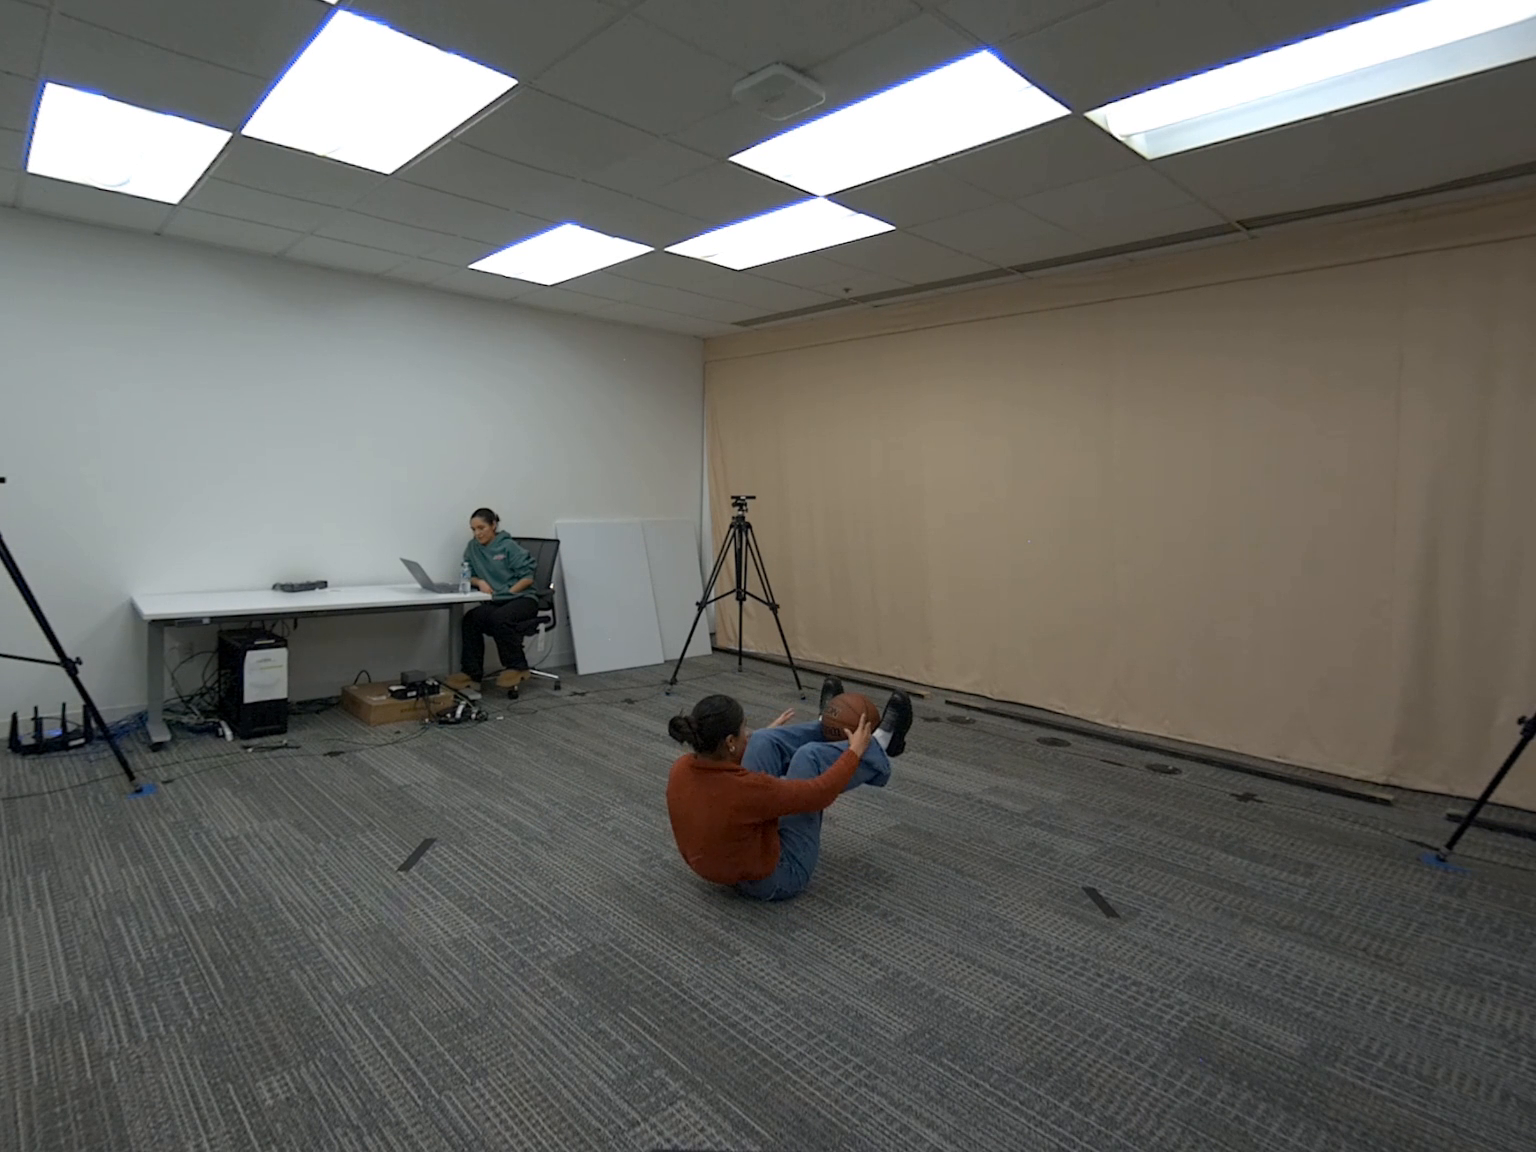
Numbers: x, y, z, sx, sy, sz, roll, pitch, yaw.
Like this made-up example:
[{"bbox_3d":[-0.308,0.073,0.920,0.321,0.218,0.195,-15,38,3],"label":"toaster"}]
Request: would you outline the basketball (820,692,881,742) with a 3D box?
[{"bbox_3d":[0.325,0.590,3.359,0.236,0.234,0.237,0,8,-1],"label":"basketball"}]
